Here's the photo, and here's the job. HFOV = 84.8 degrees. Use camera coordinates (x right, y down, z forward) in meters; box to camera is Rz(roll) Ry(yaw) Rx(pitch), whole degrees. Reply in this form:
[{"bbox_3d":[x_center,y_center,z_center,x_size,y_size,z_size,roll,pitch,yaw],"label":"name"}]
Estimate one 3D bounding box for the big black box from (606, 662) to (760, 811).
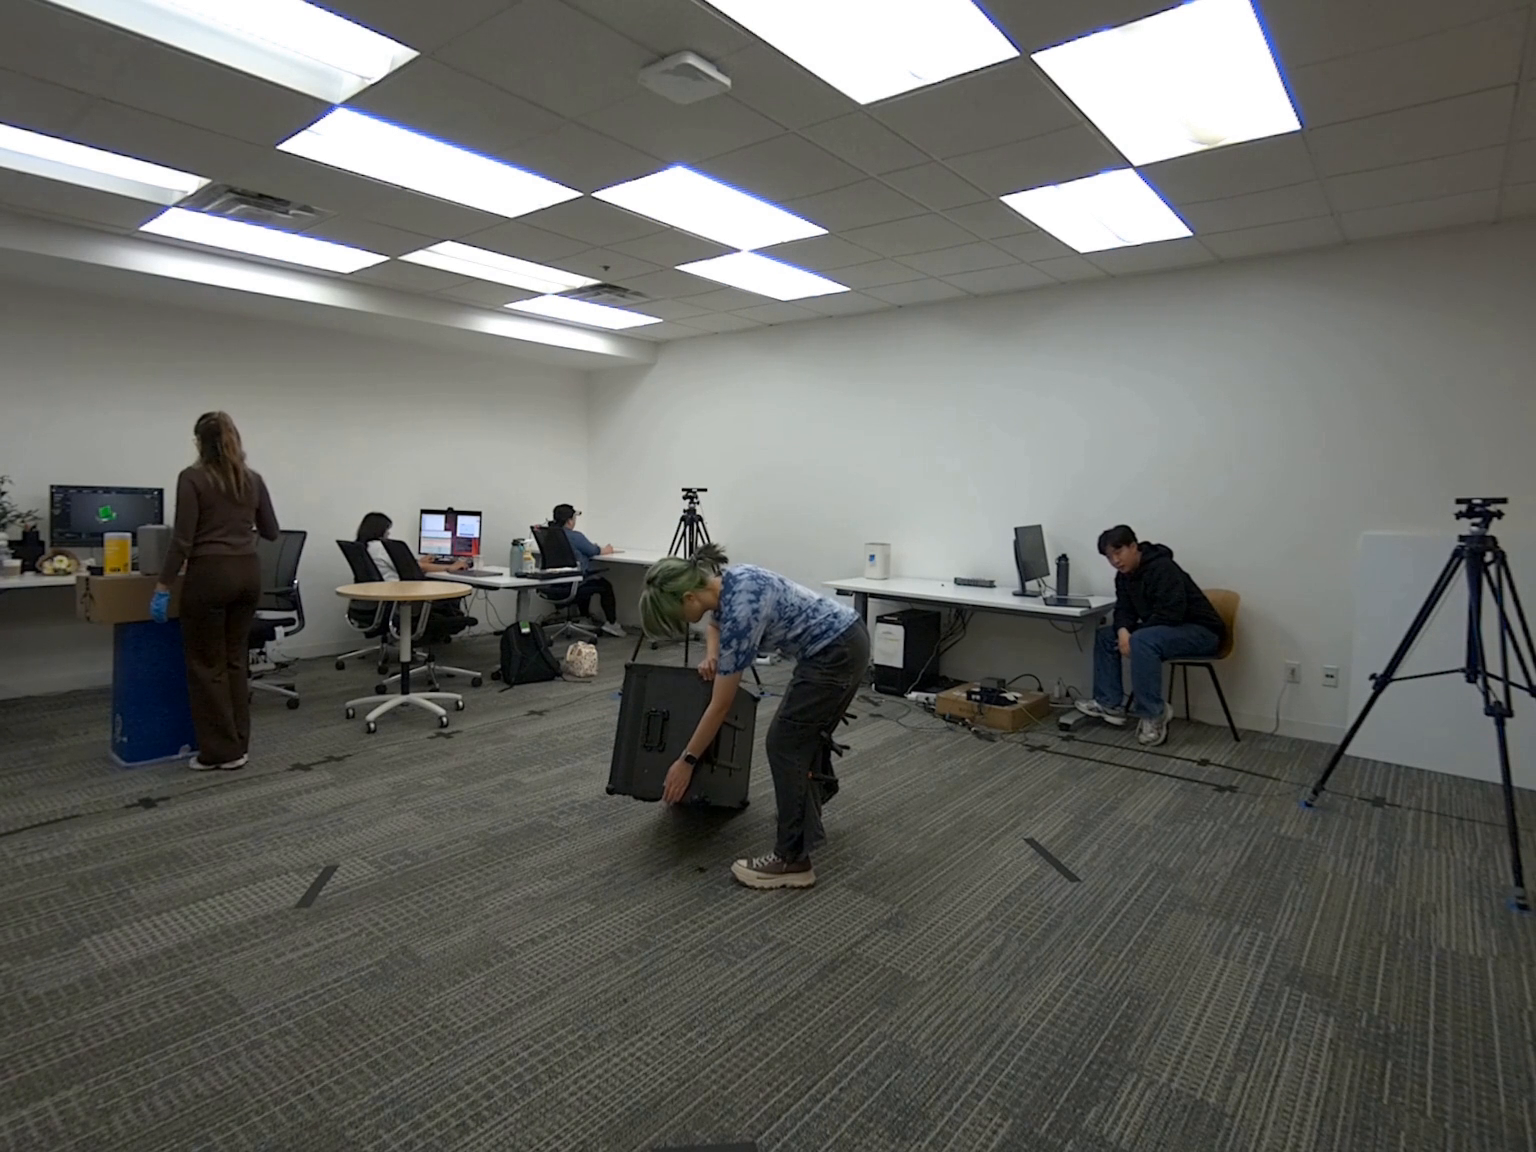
[{"bbox_3d":[-0.313,0.674,3.513,0.403,0.528,0.836,3,-15,15],"label":"big black box"}]
